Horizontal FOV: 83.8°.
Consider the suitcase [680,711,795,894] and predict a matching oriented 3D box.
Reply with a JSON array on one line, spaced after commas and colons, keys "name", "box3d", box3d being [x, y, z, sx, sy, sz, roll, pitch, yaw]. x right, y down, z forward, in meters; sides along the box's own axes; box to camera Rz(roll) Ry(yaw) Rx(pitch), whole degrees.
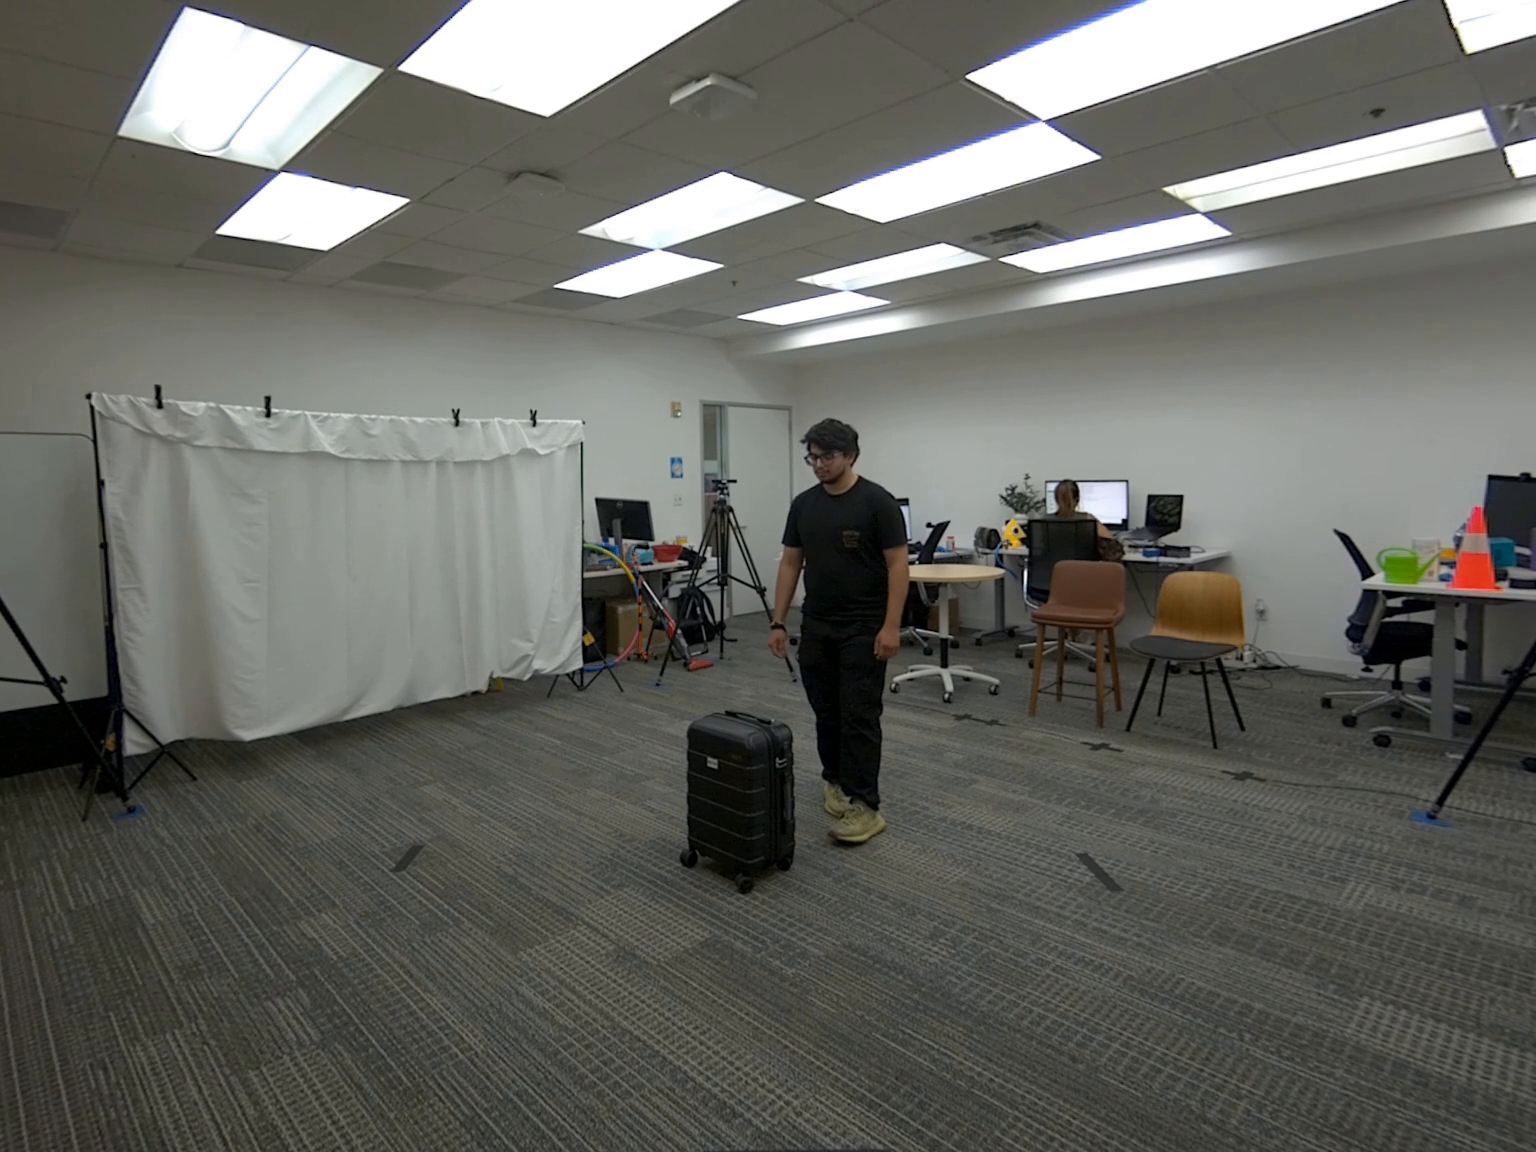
[{"name": "suitcase", "box3d": [-0.098, 0.777, 3.069, 0.387, 0.547, 0.241, 5, 6, 44]}]
